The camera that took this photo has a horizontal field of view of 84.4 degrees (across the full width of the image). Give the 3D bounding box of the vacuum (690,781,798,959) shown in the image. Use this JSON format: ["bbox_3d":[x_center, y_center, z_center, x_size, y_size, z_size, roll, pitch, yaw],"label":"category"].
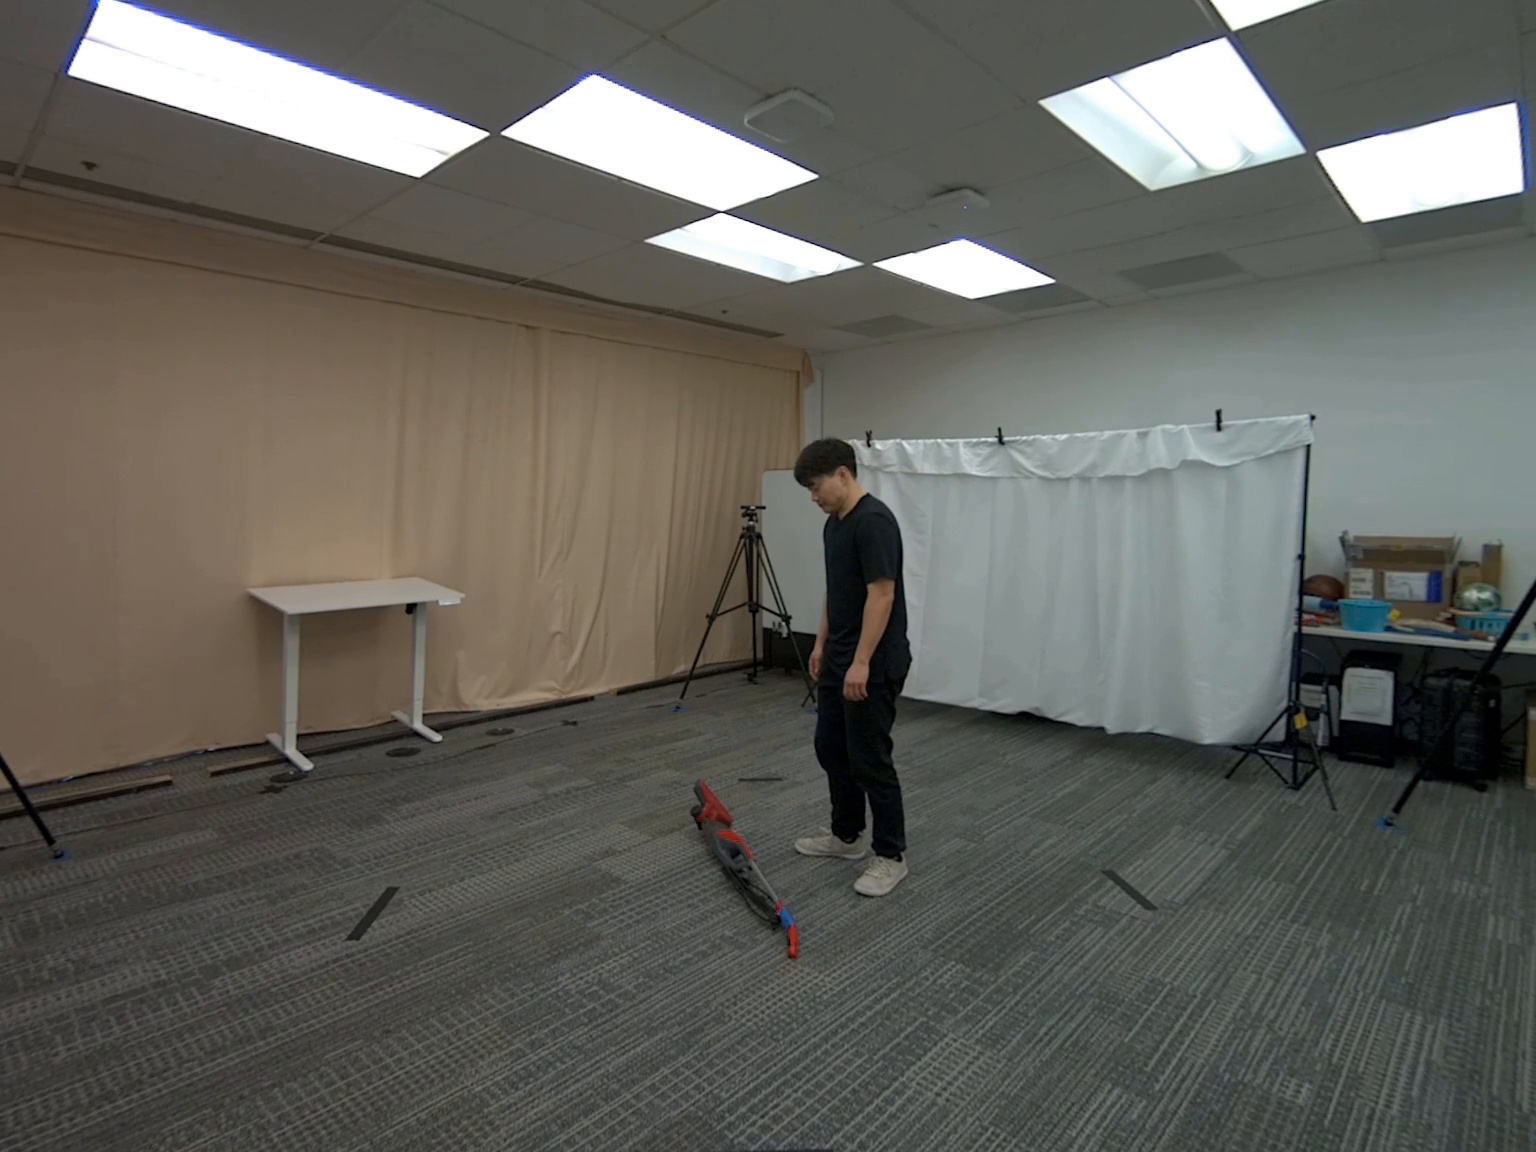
[{"bbox_3d":[-0.091,1.085,3.103,0.143,0.248,1.072,-38,18,-8],"label":"vacuum"}]
